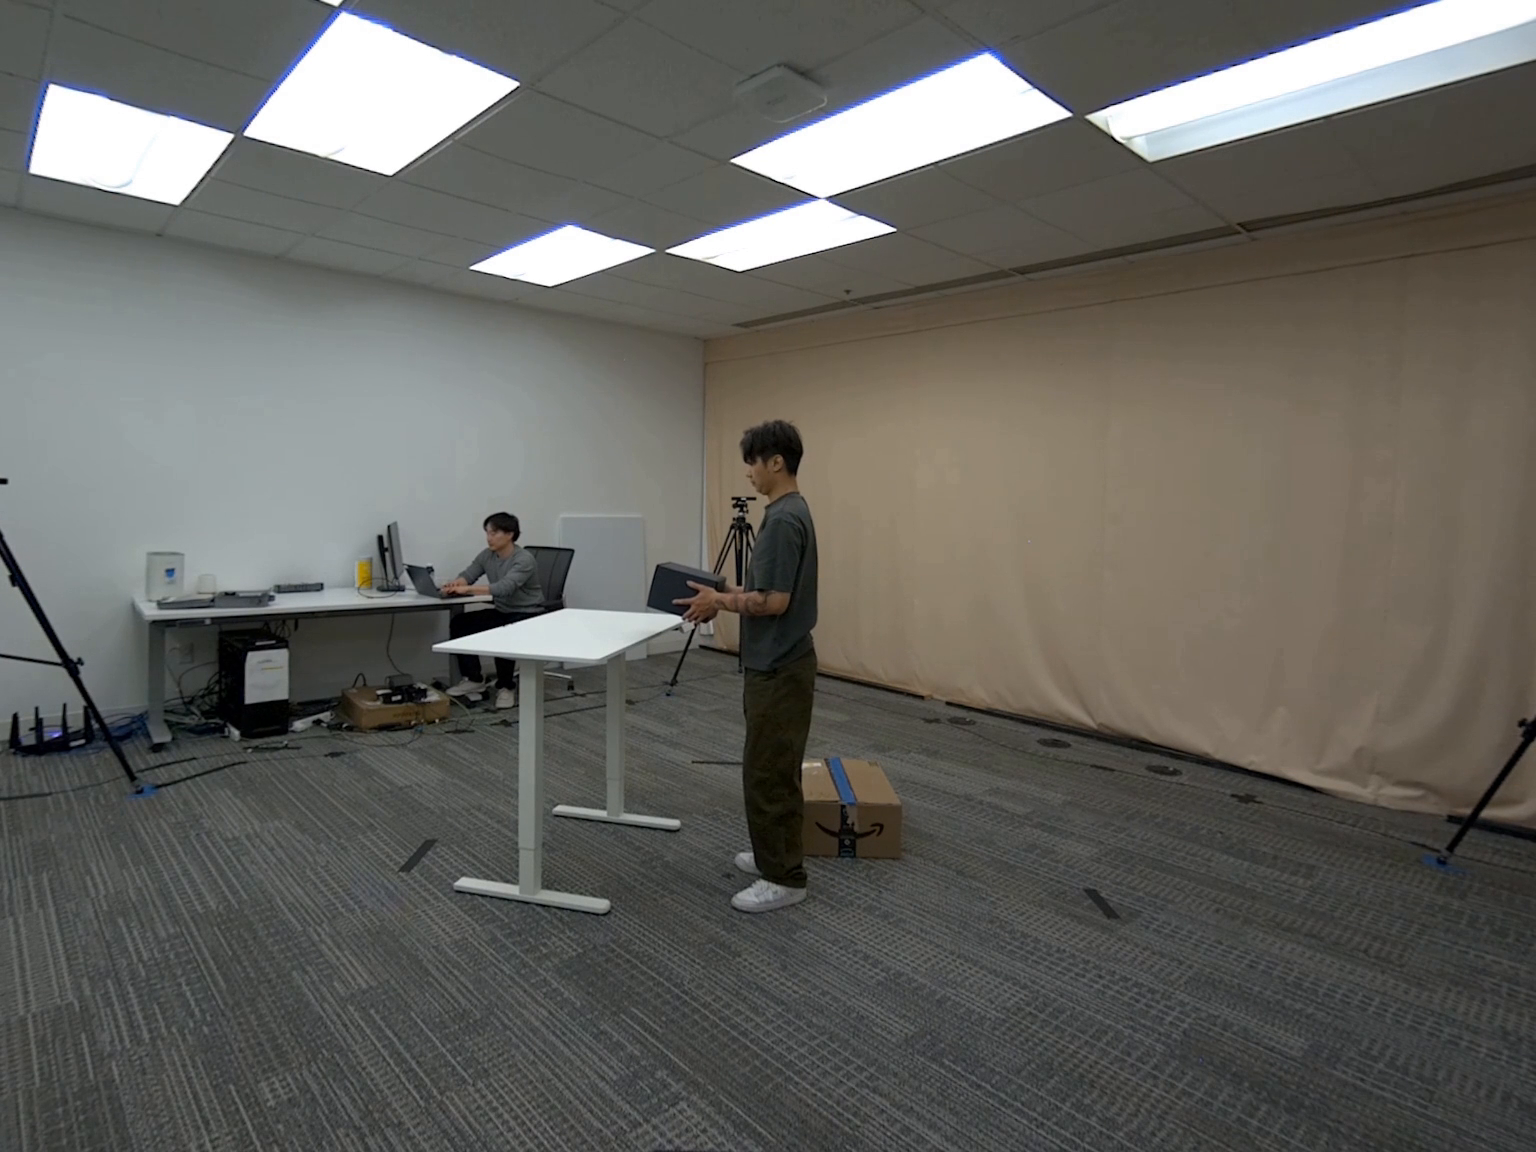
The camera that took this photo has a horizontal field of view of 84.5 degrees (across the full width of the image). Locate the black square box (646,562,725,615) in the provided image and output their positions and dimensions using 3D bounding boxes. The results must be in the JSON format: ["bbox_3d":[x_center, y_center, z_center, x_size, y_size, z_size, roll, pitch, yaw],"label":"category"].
[{"bbox_3d":[-0.298,0.044,3.079,0.227,0.156,0.217,11,3,-2],"label":"black square box"}]
